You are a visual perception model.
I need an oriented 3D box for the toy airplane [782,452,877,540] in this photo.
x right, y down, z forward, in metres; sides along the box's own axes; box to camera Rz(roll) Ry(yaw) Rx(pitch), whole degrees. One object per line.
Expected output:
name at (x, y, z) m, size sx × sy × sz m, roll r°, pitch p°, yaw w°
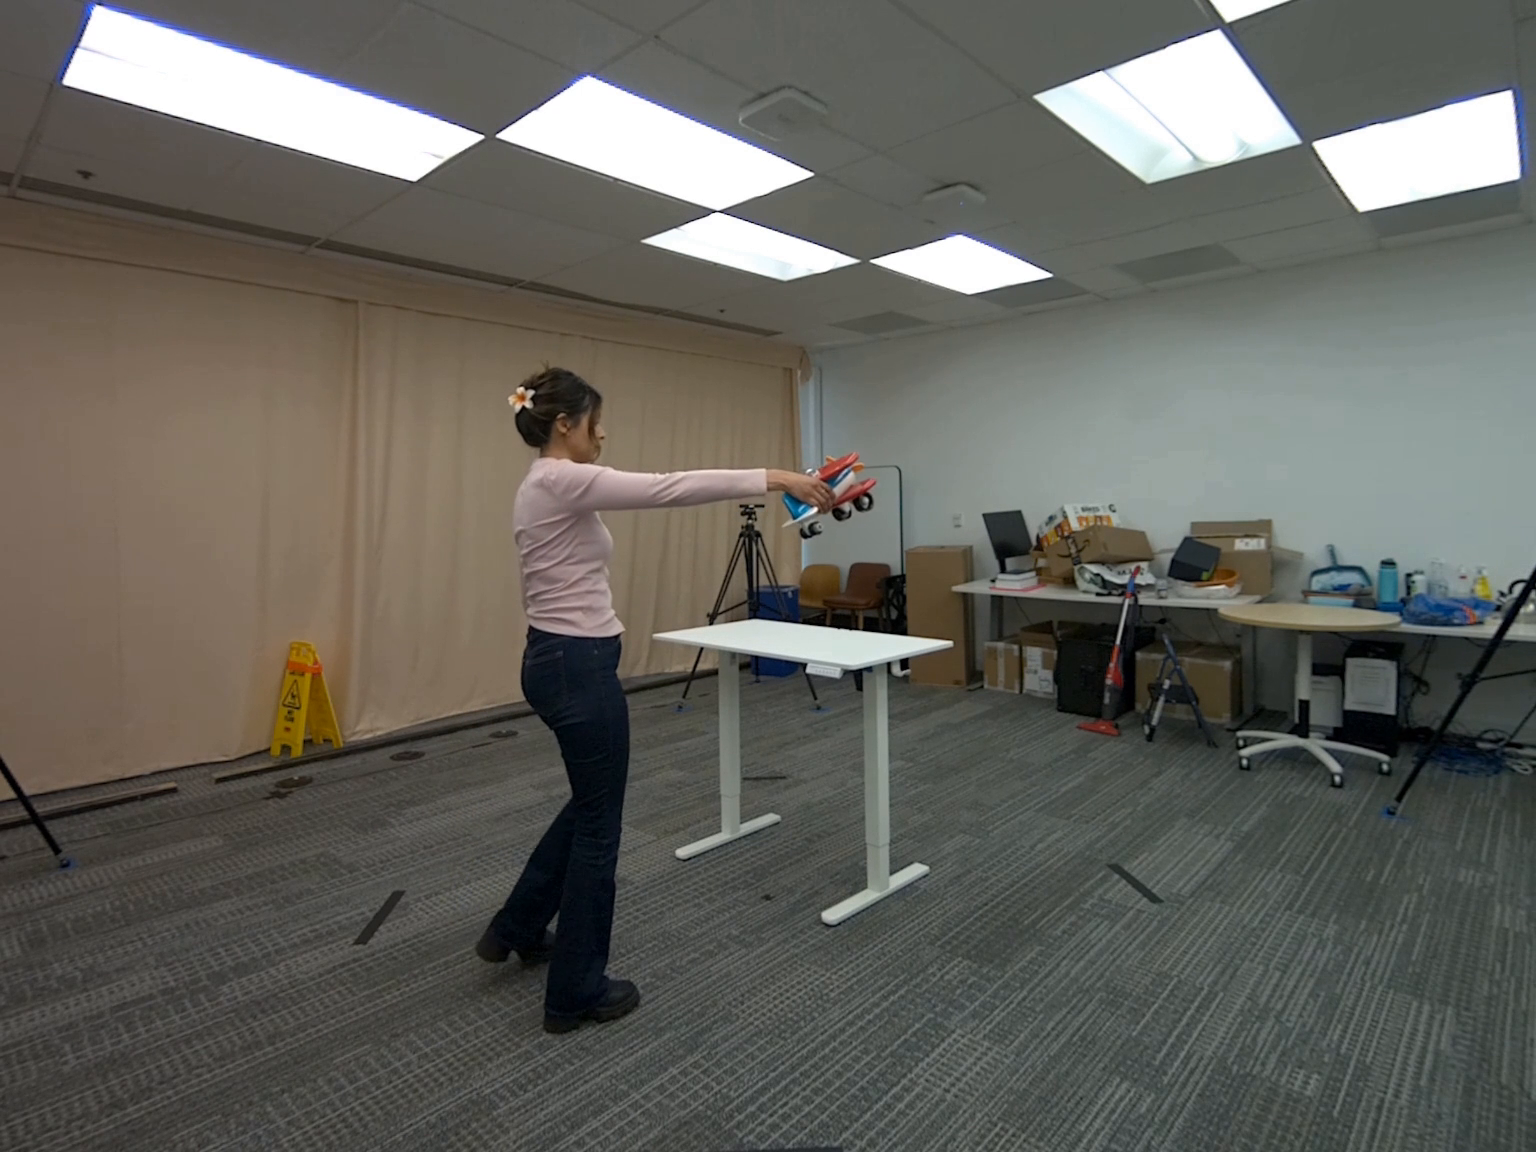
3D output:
toy airplane at (0.166, -0.208, 2.164) m, size 0.255 × 0.156 × 0.255 m, roll -24°, pitch 2°, yaw 23°
